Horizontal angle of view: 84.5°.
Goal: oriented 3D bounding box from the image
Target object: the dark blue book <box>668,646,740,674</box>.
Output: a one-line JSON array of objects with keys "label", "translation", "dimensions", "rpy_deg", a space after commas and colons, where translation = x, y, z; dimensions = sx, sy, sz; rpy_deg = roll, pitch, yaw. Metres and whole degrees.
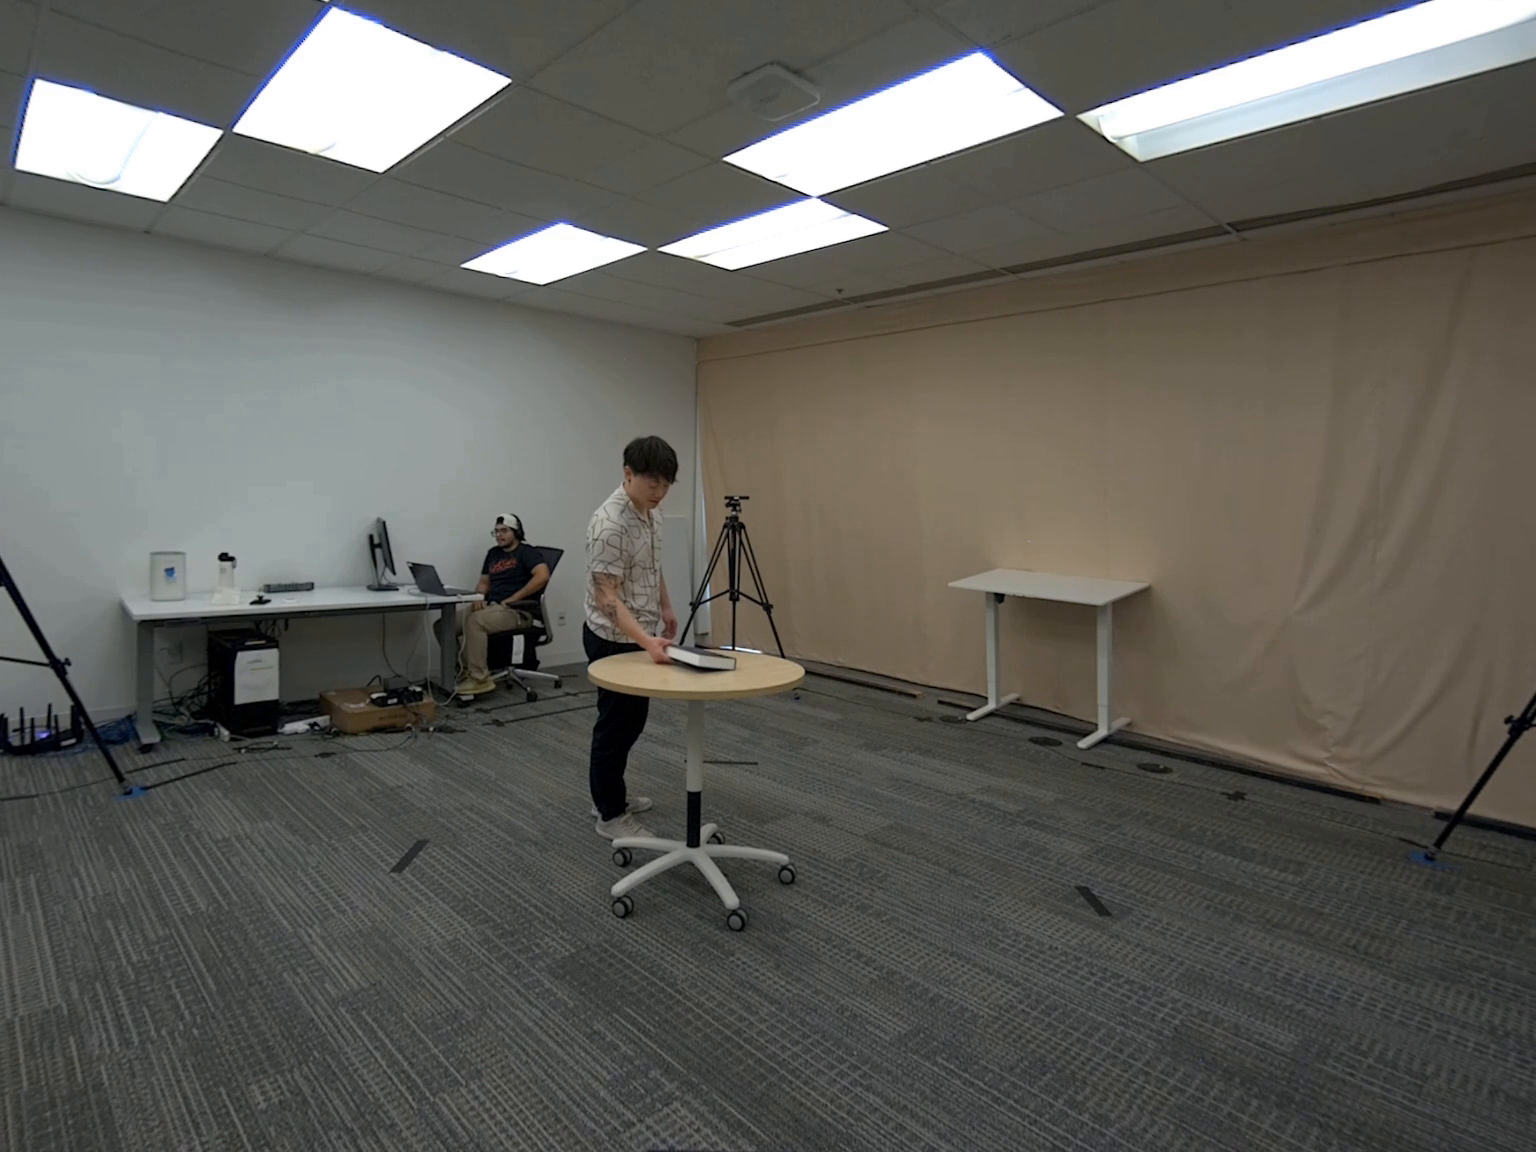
[{"label": "dark blue book", "translation": [-0.244, 0.295, 3.009], "dimensions": [0.159, 0.045, 0.251], "rpy_deg": [11, -2, -36]}]
